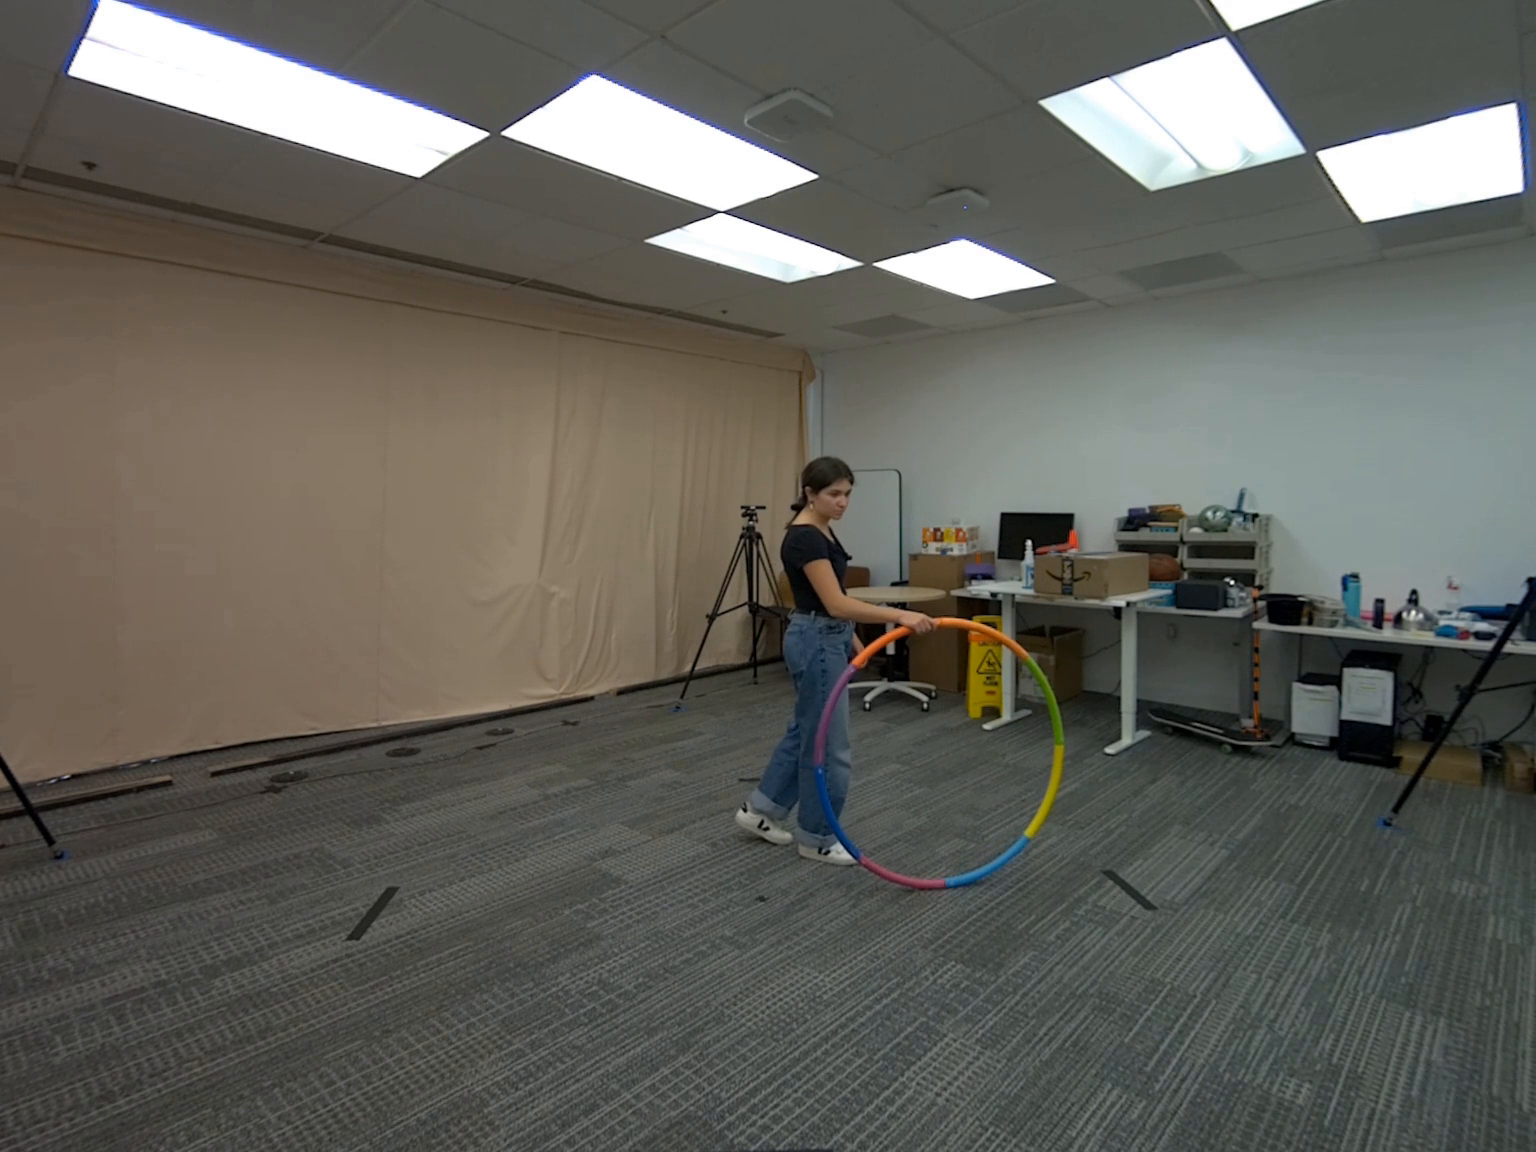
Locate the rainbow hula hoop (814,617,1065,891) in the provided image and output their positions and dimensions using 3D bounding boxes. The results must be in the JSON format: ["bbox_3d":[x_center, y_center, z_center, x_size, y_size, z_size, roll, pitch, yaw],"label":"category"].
[{"bbox_3d":[0.641,0.647,3.051,0.964,0.977,0.036,-1,2,-14],"label":"rainbow hula hoop"}]
